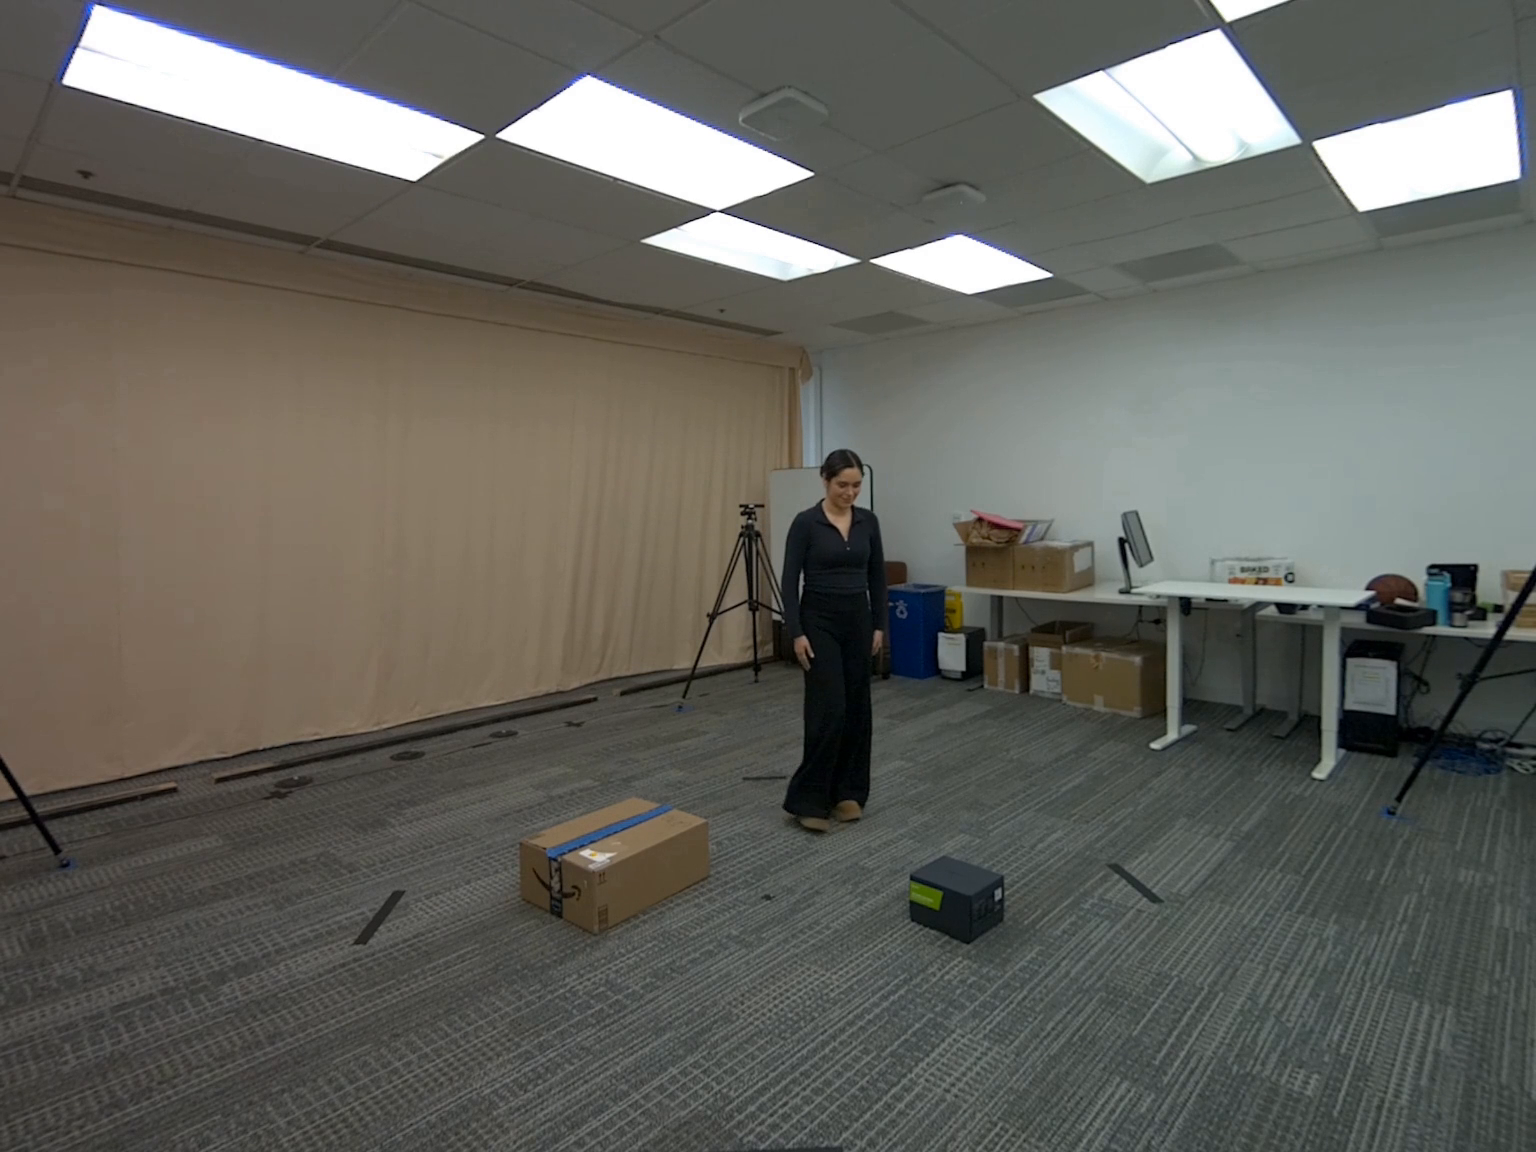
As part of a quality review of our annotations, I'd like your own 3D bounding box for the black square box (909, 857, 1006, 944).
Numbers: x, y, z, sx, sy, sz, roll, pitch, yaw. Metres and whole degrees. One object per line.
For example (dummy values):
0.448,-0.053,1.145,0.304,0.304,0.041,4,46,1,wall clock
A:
0.621,1.054,2.790,0.235,0.155,0.210,4,7,44,black square box
